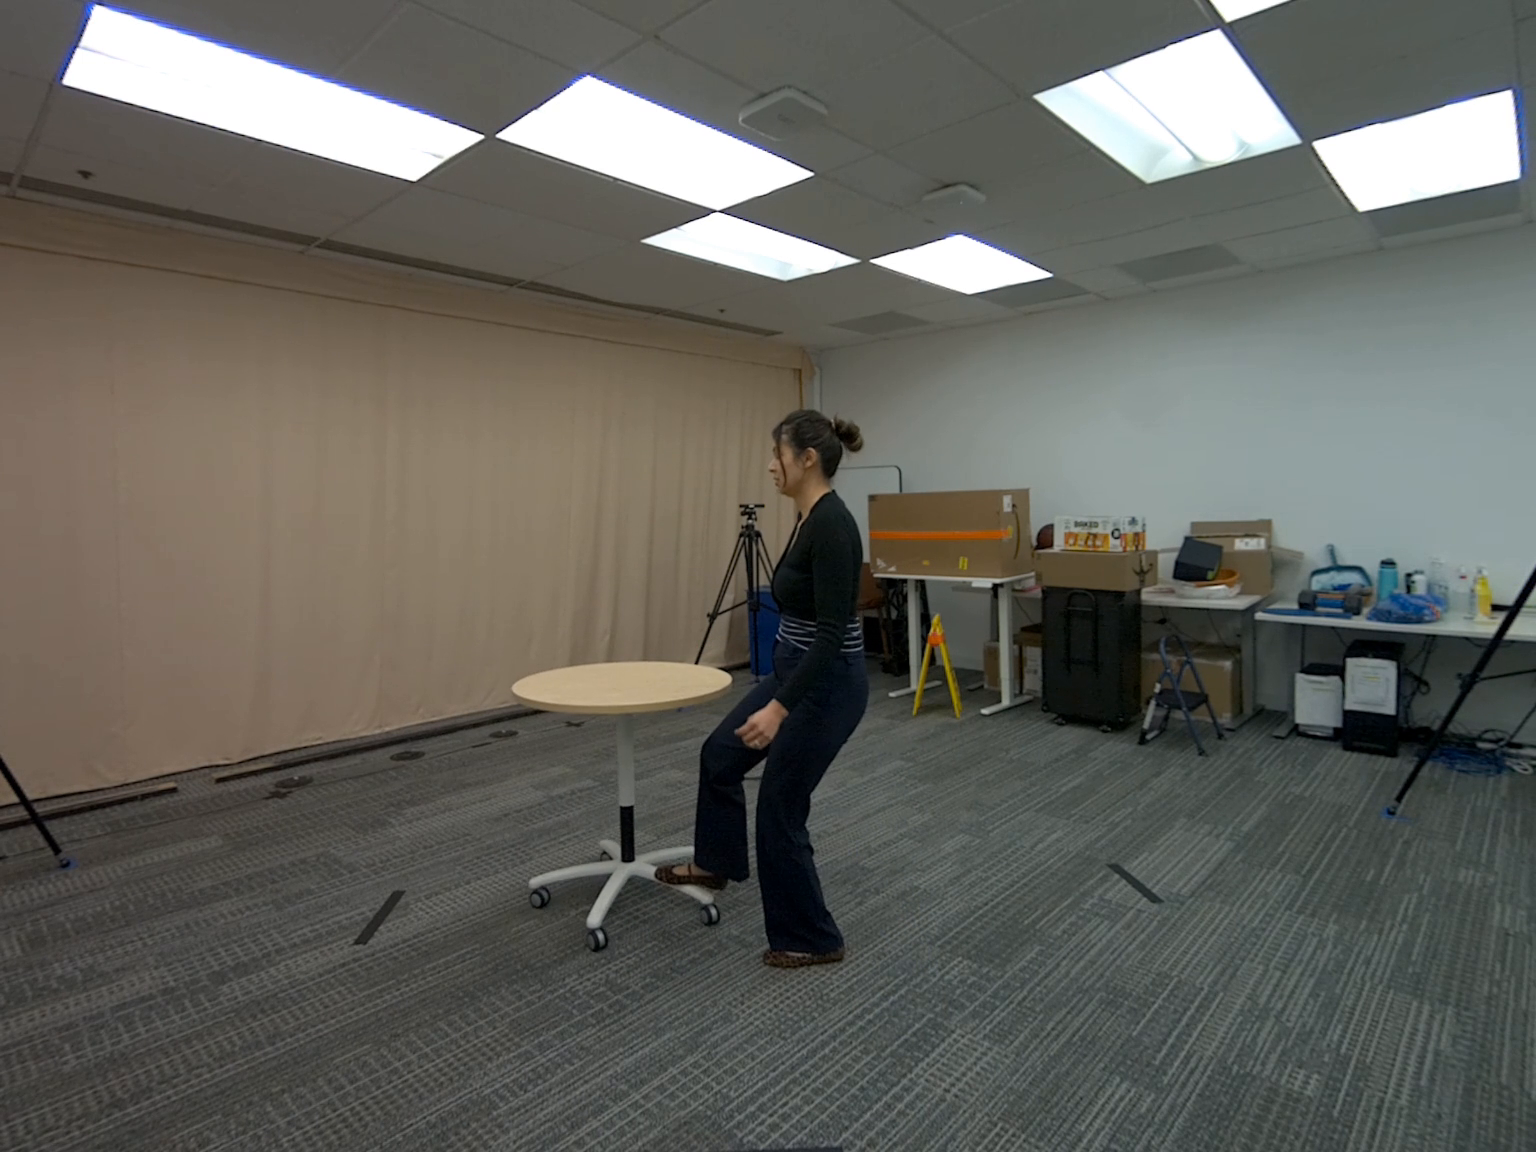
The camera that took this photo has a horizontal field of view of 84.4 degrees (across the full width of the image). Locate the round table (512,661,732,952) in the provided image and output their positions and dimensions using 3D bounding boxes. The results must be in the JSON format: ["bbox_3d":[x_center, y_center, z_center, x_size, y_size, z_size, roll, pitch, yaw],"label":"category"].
[{"bbox_3d":[-0.501,0.763,2.974,0.763,0.792,0.766,-1,3,-2],"label":"round table"}]
